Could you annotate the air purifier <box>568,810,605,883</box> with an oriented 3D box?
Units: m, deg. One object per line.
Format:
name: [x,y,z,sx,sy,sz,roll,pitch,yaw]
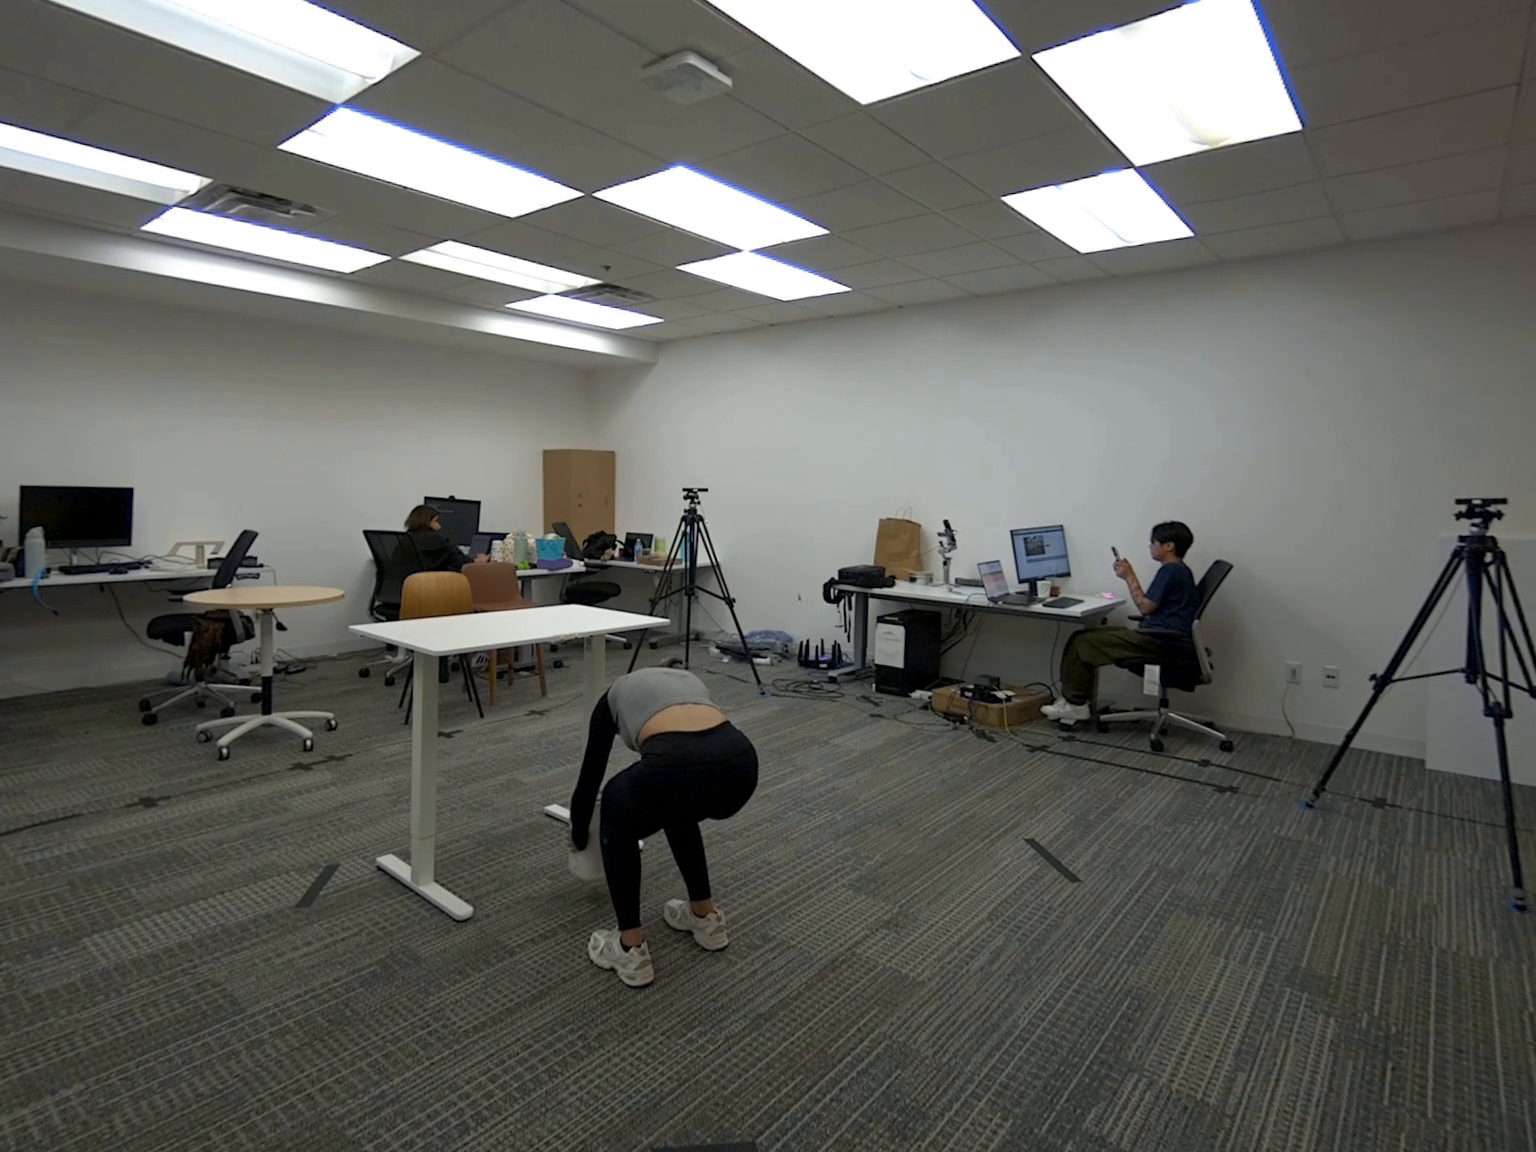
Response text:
air purifier: [-0.583,0.874,2.890,0.166,0.265,0.176,2,0,-39]
